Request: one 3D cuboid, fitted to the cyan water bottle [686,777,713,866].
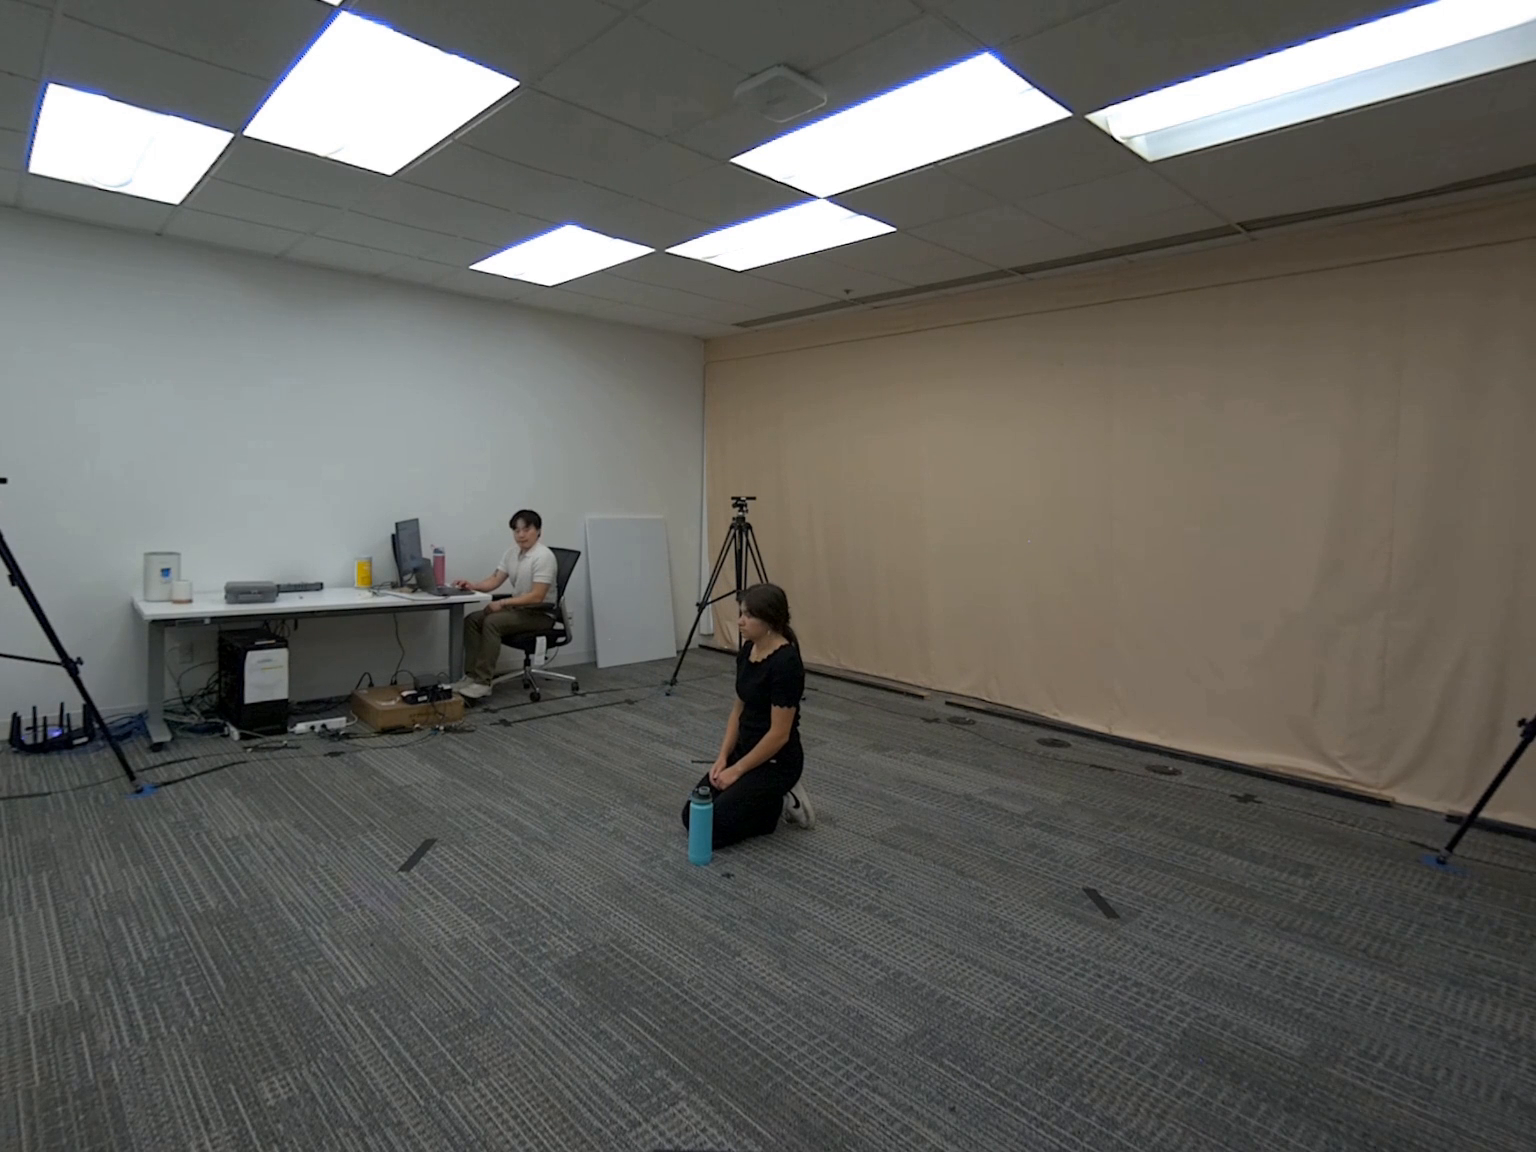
[{"bbox_3d":[-0.266,0.954,3.226,0.092,0.283,0.092,1,2,-1],"label":"cyan water bottle"}]
